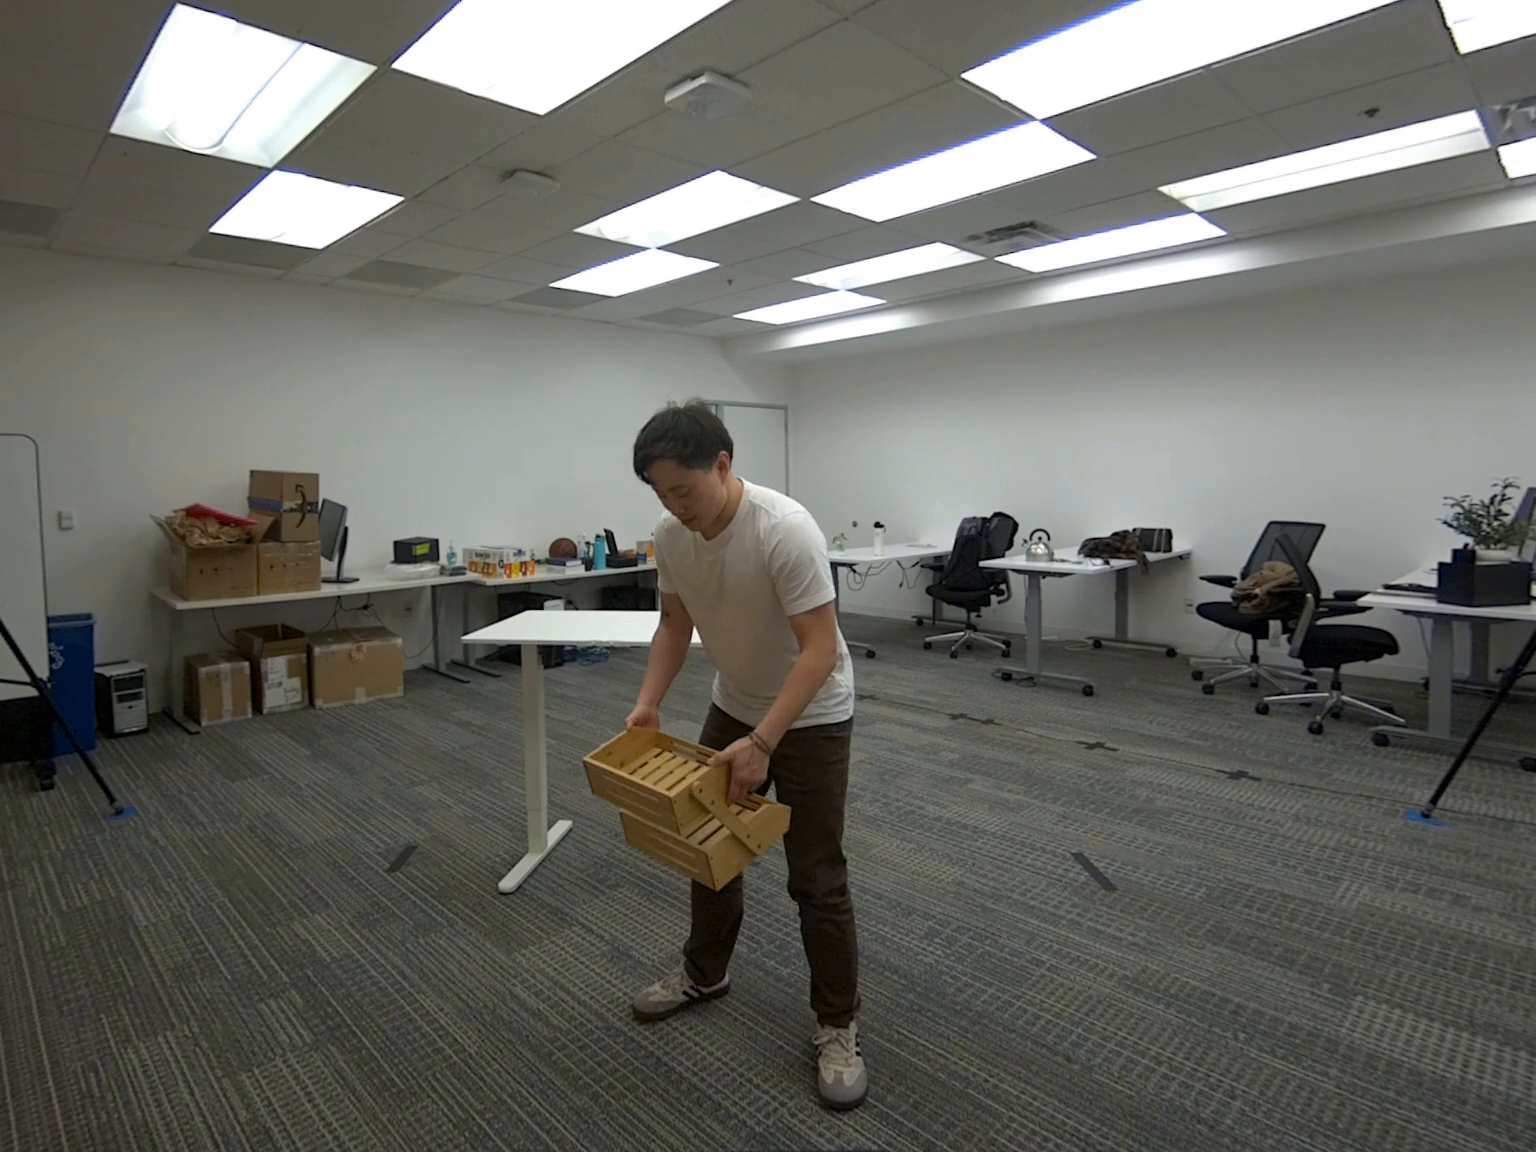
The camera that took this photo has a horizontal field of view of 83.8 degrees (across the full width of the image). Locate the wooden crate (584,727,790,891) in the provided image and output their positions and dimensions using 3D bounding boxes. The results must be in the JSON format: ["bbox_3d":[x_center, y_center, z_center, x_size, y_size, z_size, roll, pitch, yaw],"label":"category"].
[{"bbox_3d":[-0.171,0.478,1.884,0.335,0.268,0.298,5,25,44],"label":"wooden crate"}]
